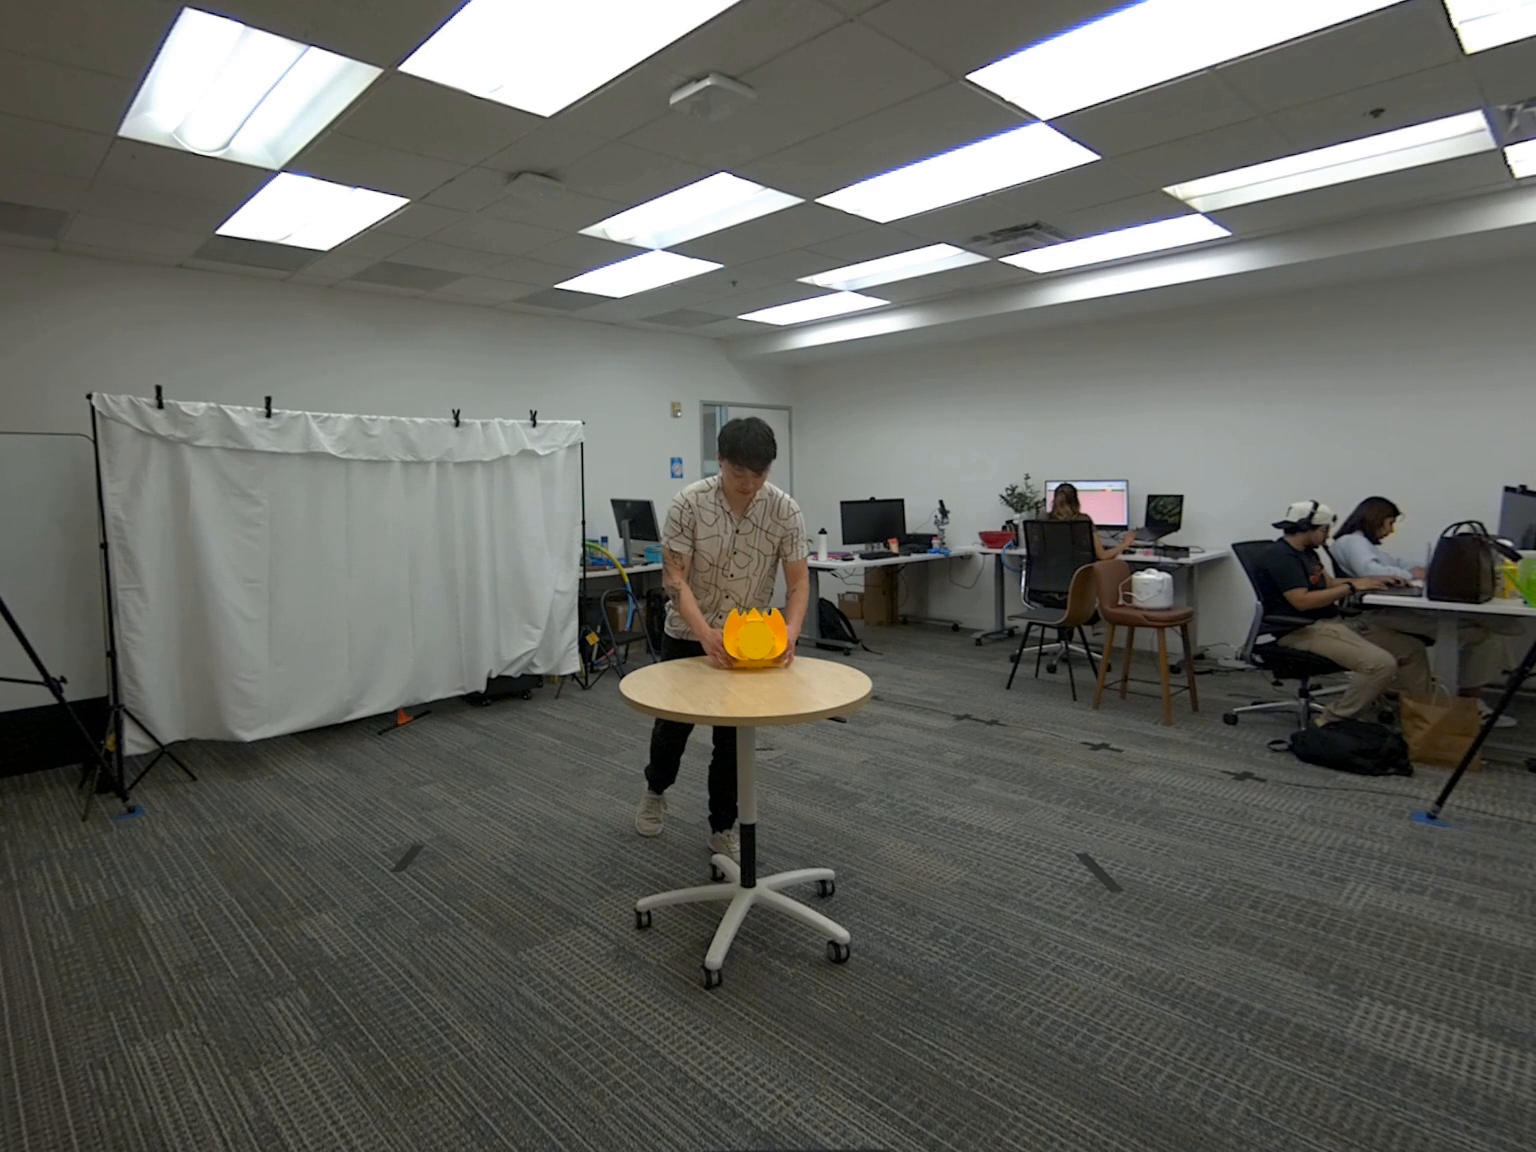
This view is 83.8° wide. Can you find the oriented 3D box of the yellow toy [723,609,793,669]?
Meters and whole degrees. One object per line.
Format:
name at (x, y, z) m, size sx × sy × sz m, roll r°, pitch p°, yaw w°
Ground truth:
yellow toy at (-0.060, 0.210, 2.821) m, size 0.204 × 0.194 × 0.229 m, roll -2°, pitch -7°, yaw -3°
